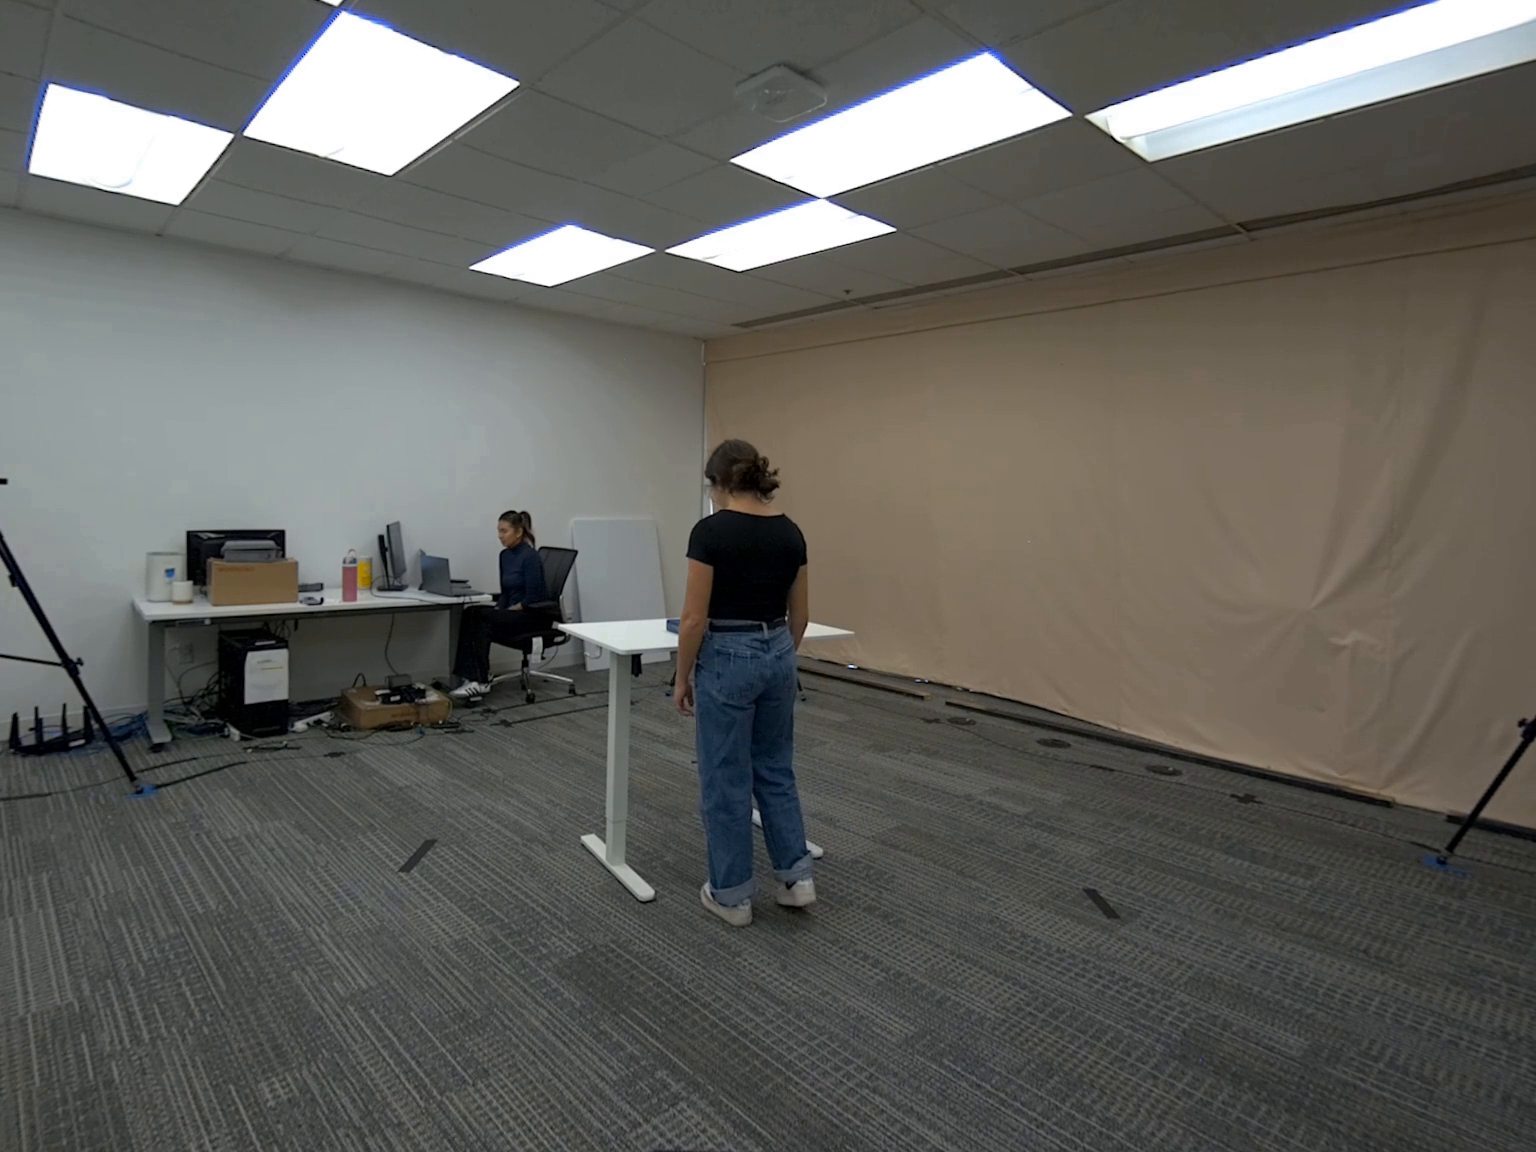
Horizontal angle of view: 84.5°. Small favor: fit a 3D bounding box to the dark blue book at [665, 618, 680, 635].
[{"bbox_3d":[-0.260,0.203,3.143,0.160,0.045,0.251,-2,6,-32],"label":"dark blue book"}]
